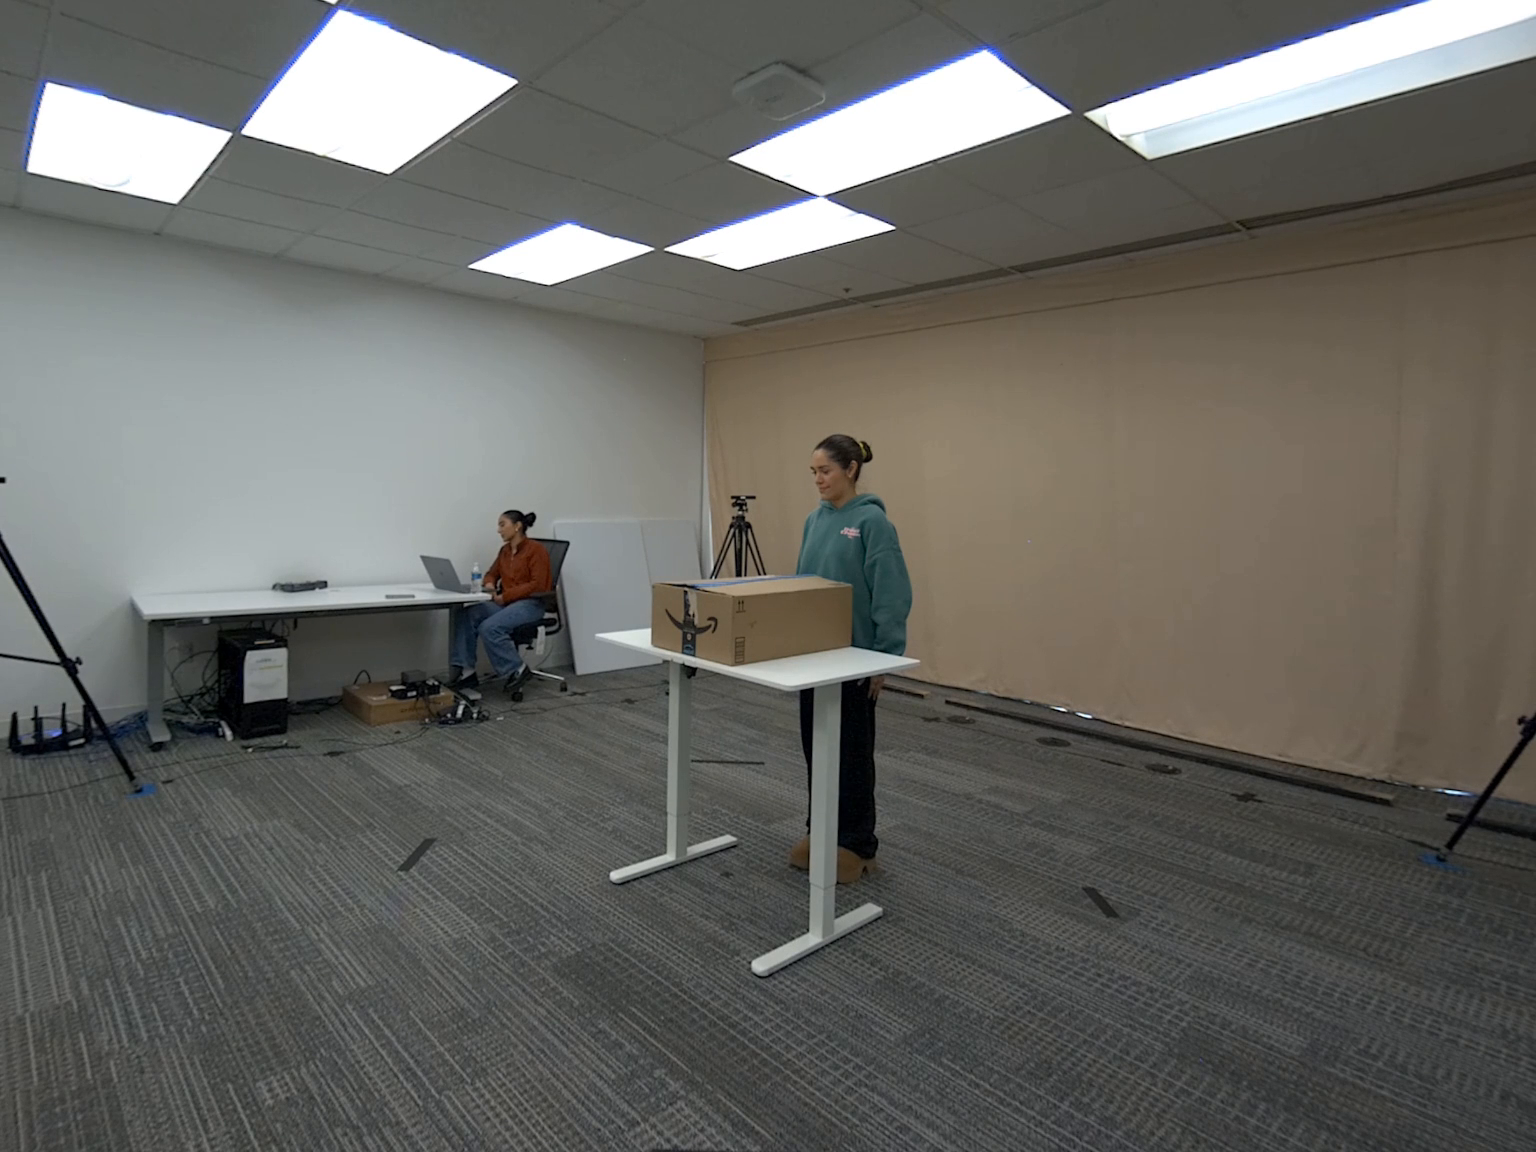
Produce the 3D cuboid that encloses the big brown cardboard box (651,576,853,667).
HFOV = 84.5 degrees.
[{"bbox_3d":[-0.055,0.133,2.878,0.576,0.232,0.428,-5,8,-44],"label":"big brown cardboard box"}]
